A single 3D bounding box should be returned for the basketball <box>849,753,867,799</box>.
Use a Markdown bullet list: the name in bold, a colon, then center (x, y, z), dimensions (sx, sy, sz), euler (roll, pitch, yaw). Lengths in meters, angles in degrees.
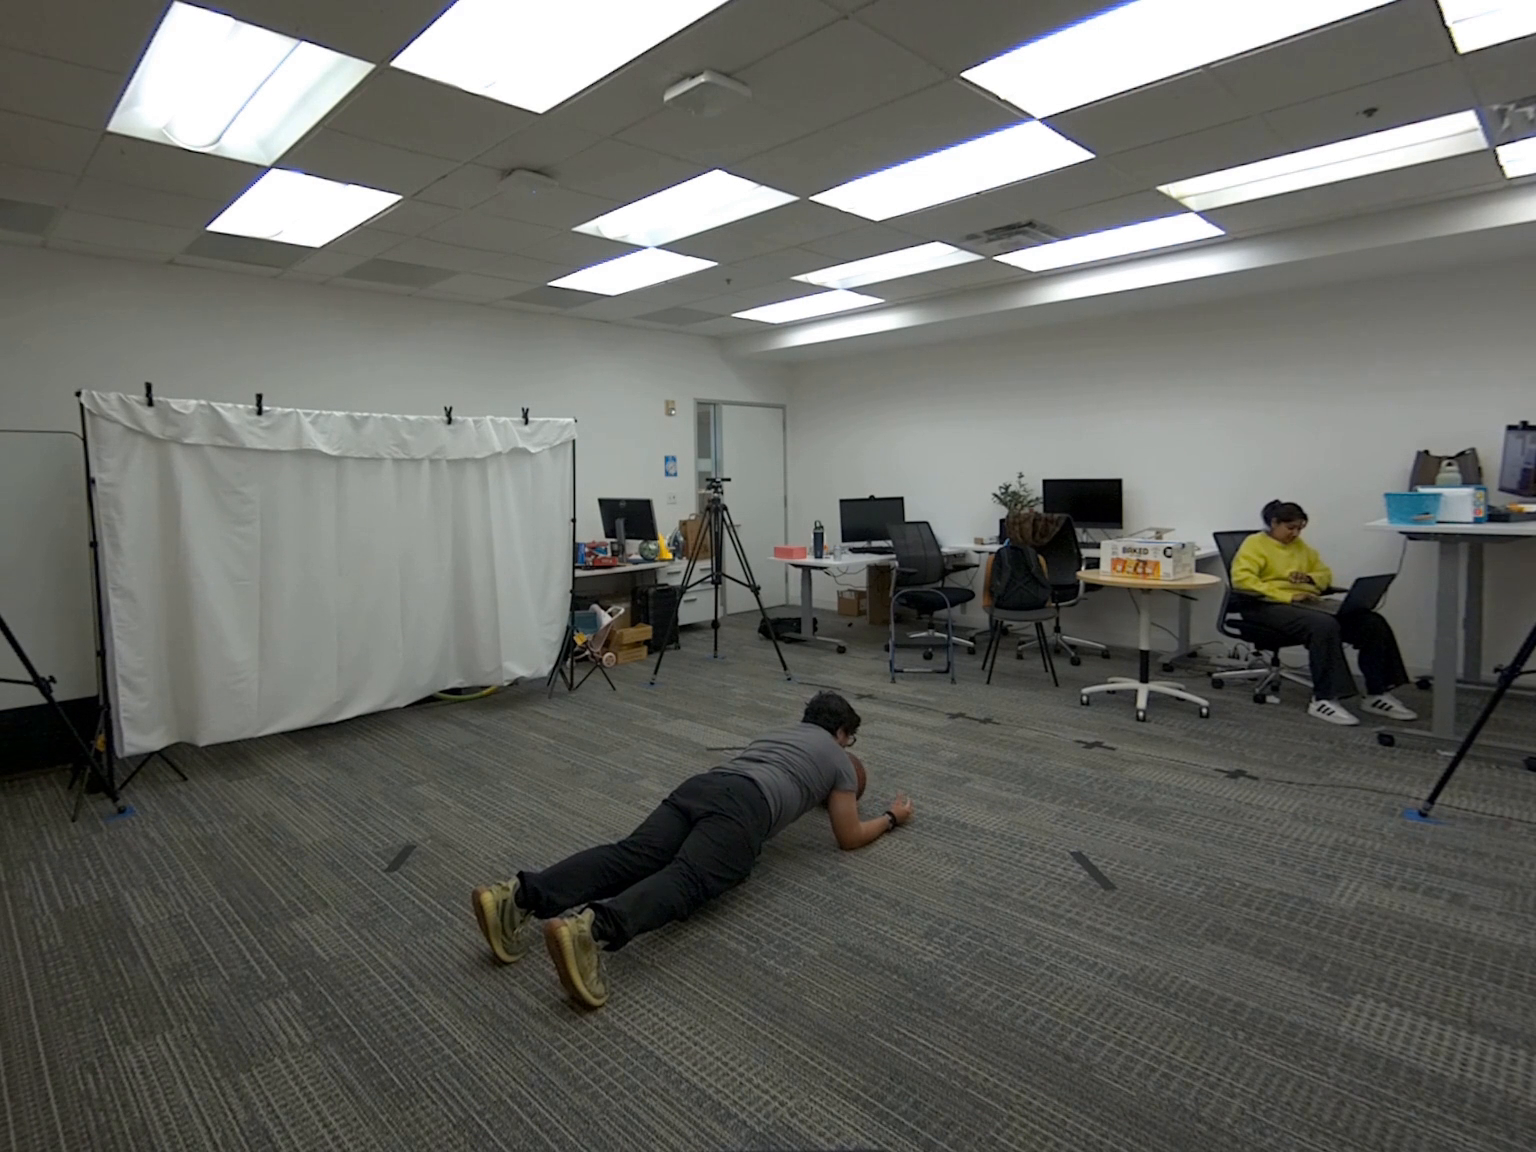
- **basketball**: center (0.306, 0.857, 3.621), dimensions (0.236, 0.235, 0.237), euler (-1, 5, -2)
